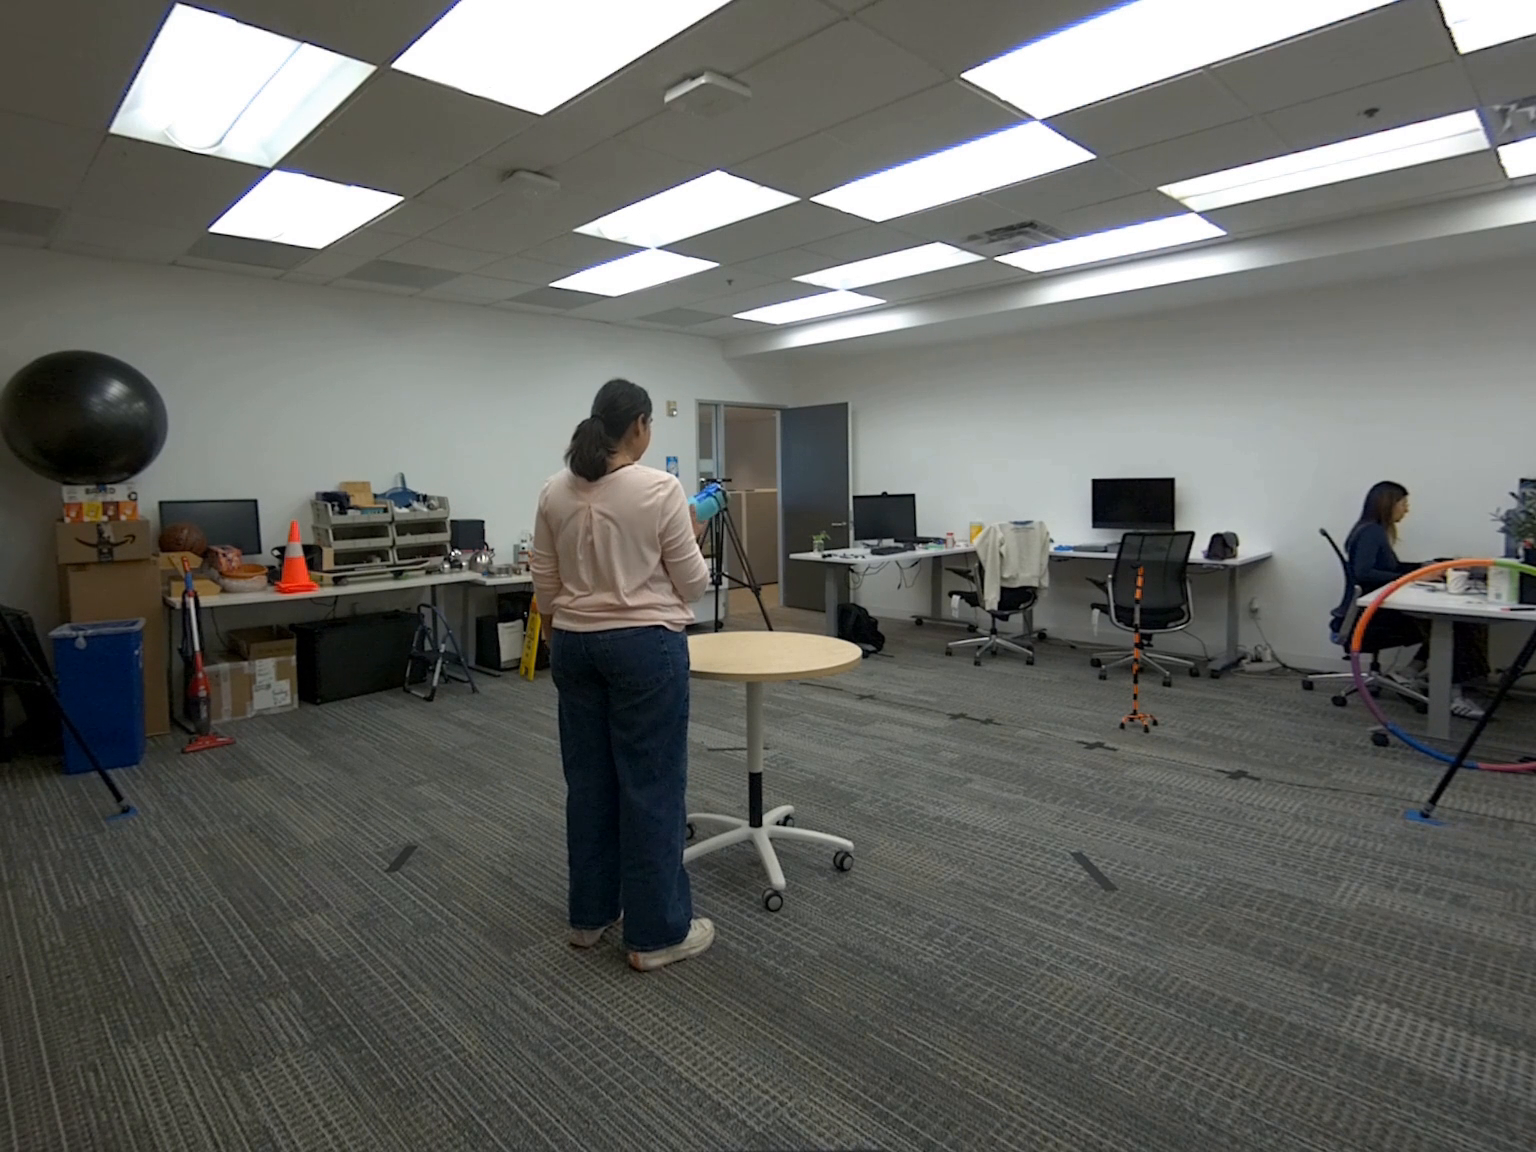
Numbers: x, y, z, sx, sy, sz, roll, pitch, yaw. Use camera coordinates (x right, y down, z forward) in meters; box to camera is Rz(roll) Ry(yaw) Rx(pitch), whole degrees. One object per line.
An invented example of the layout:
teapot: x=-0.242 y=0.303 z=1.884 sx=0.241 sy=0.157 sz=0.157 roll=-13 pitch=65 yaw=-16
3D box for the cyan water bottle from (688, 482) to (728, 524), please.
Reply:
cyan water bottle: x=-0.237 y=-0.217 z=2.759 sx=0.283 sy=0.091 sz=0.093 roll=-33 pitch=9 yaw=-5
